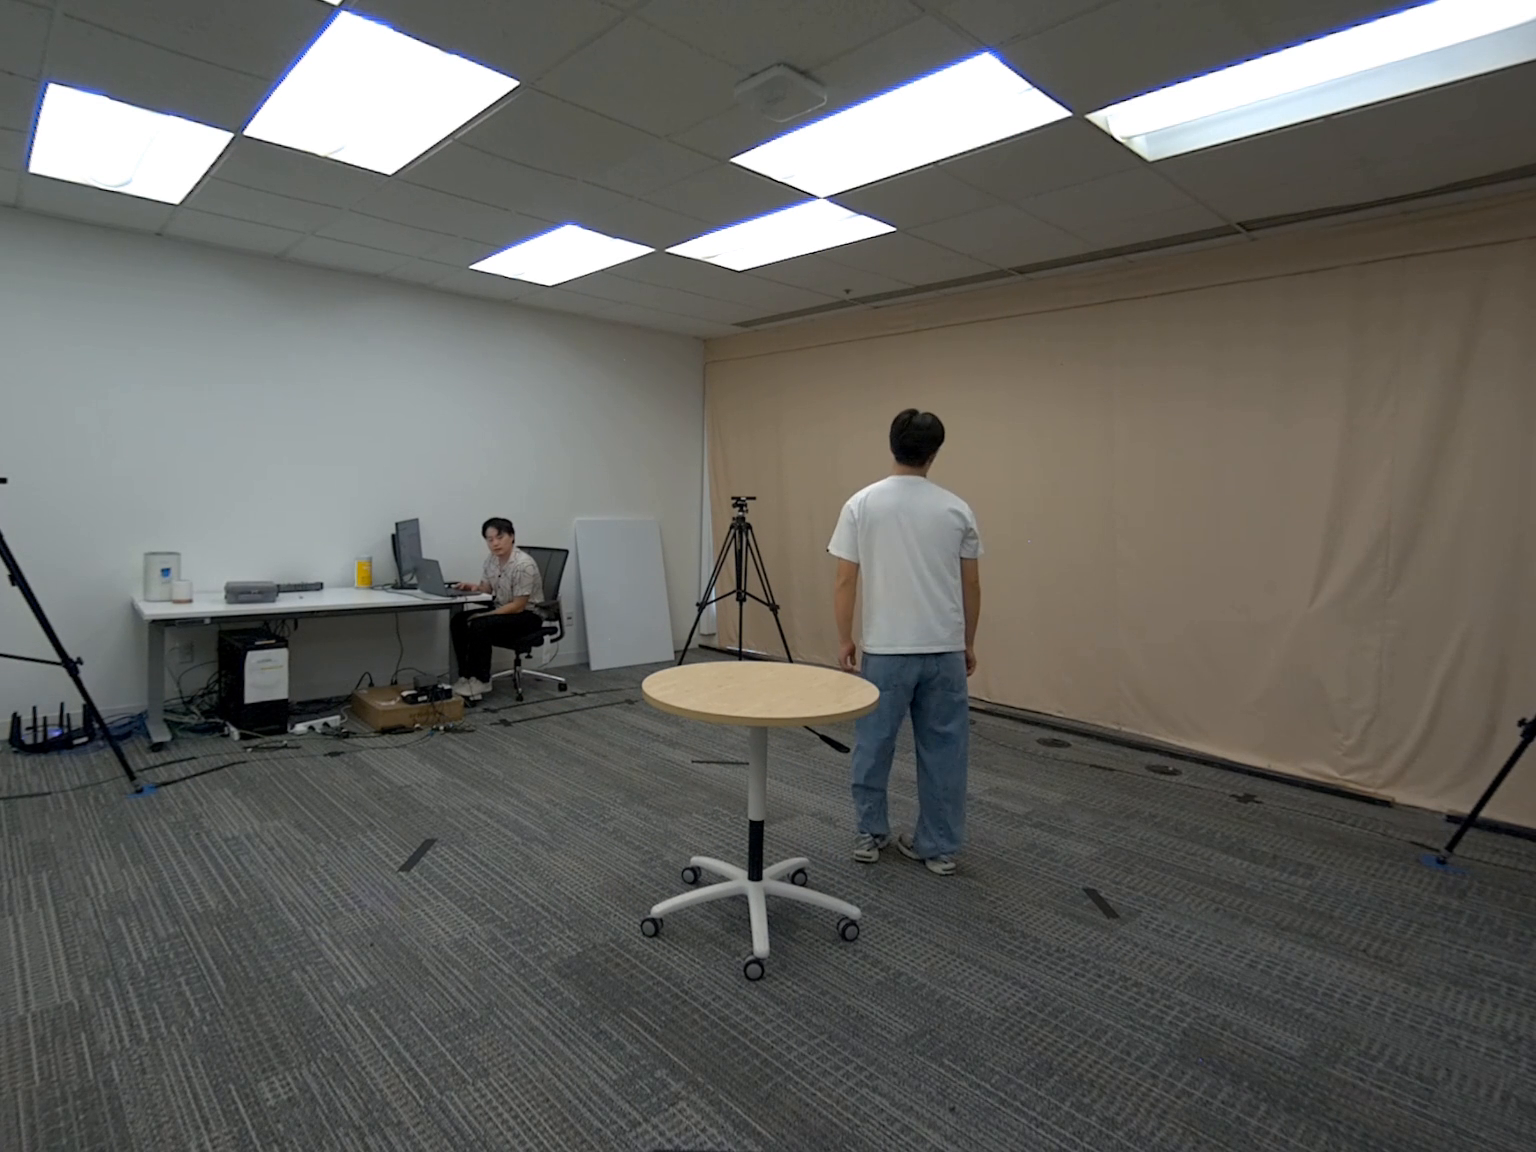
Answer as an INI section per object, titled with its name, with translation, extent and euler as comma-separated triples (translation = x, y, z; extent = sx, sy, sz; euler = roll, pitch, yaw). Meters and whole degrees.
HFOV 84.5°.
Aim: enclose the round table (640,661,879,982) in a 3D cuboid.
[round table]
translation = -0.051, 0.750, 2.752
extent = 0.763, 0.791, 0.767
euler = 2, 5, -1
